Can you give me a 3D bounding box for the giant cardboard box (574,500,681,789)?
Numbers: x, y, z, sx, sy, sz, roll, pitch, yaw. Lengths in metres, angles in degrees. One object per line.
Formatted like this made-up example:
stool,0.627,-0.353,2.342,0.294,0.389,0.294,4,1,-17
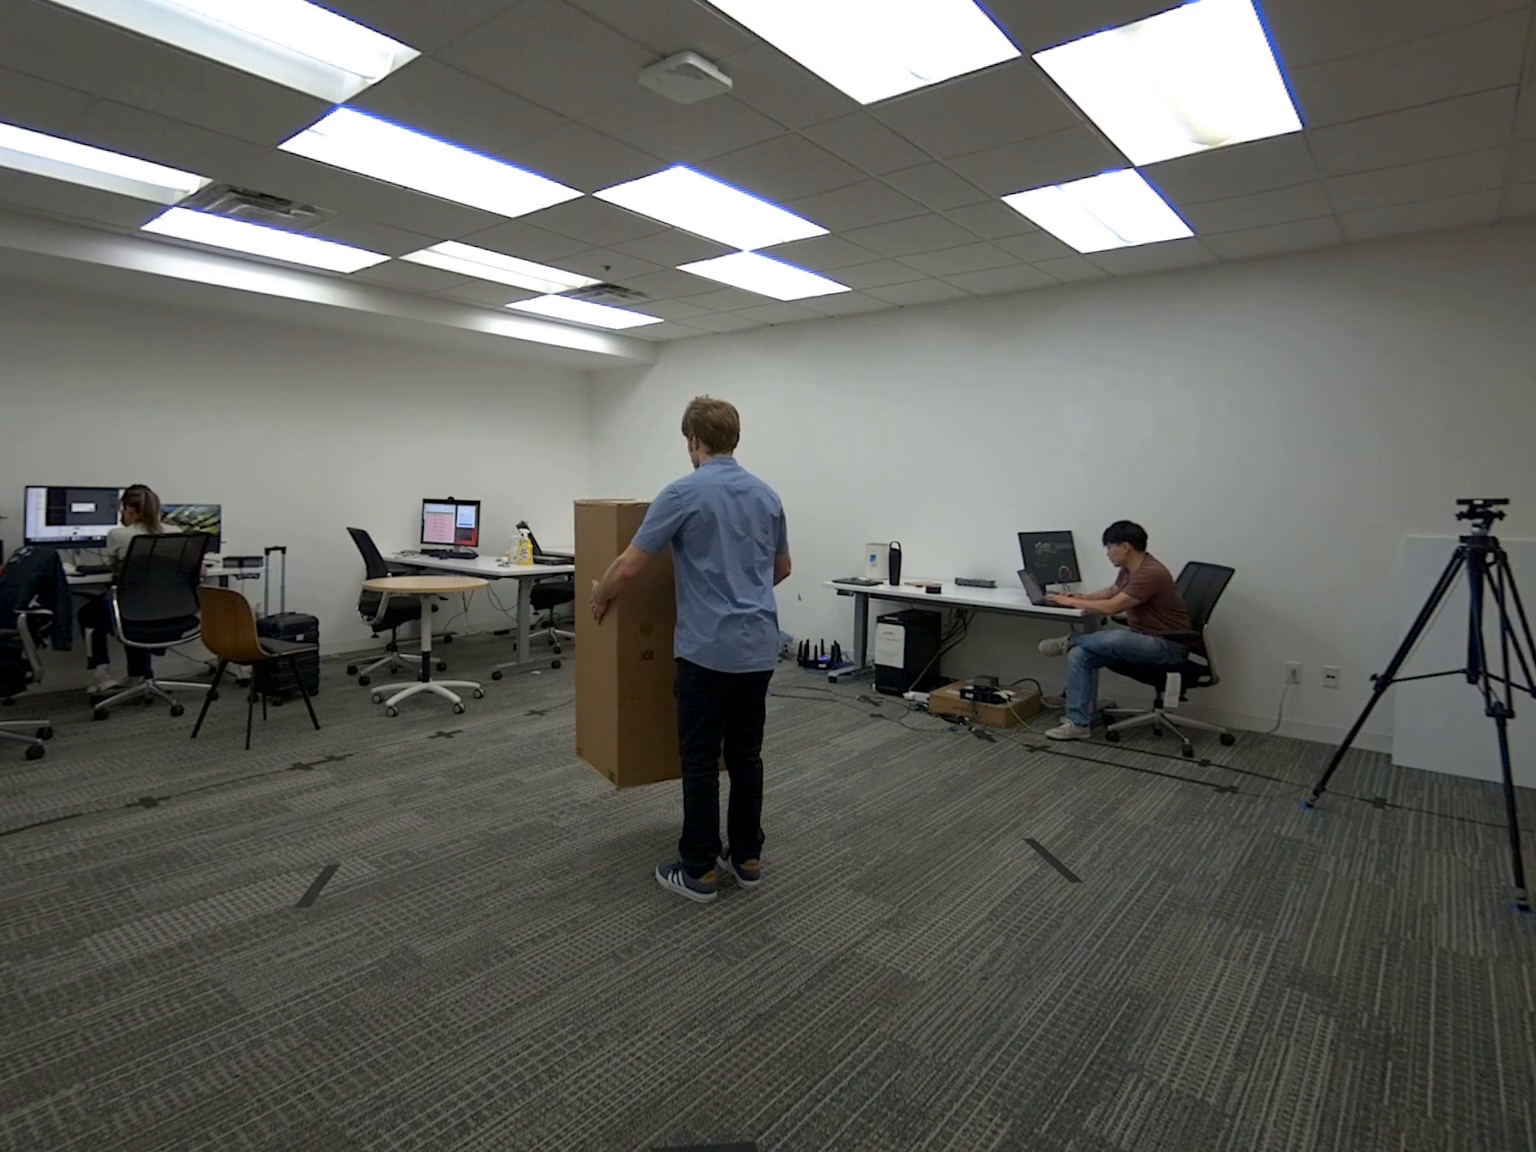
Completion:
giant cardboard box,-0.422,0.223,3.304,0.562,1.022,0.439,-2,5,-30
